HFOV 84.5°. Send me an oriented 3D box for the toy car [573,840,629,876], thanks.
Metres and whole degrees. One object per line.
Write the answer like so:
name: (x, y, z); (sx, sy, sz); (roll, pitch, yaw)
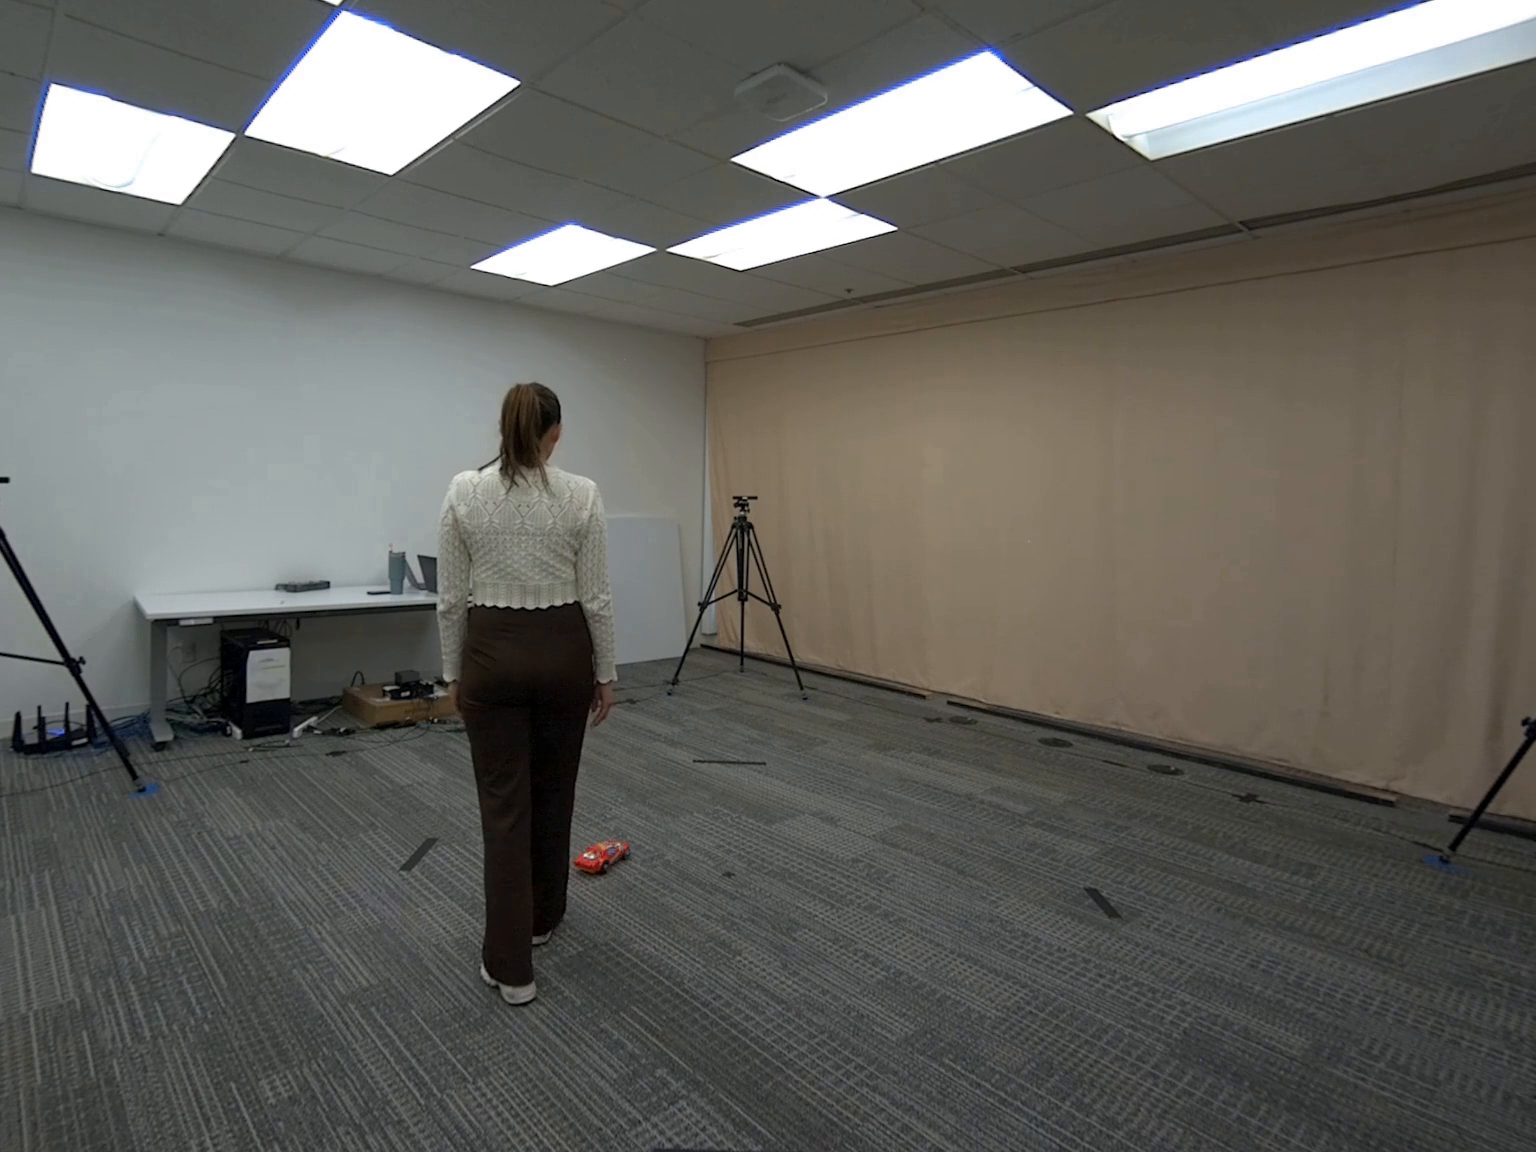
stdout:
toy car: (-0.633, 1.054, 3.154); (0.133, 0.083, 0.248); (4, -6, 25)
